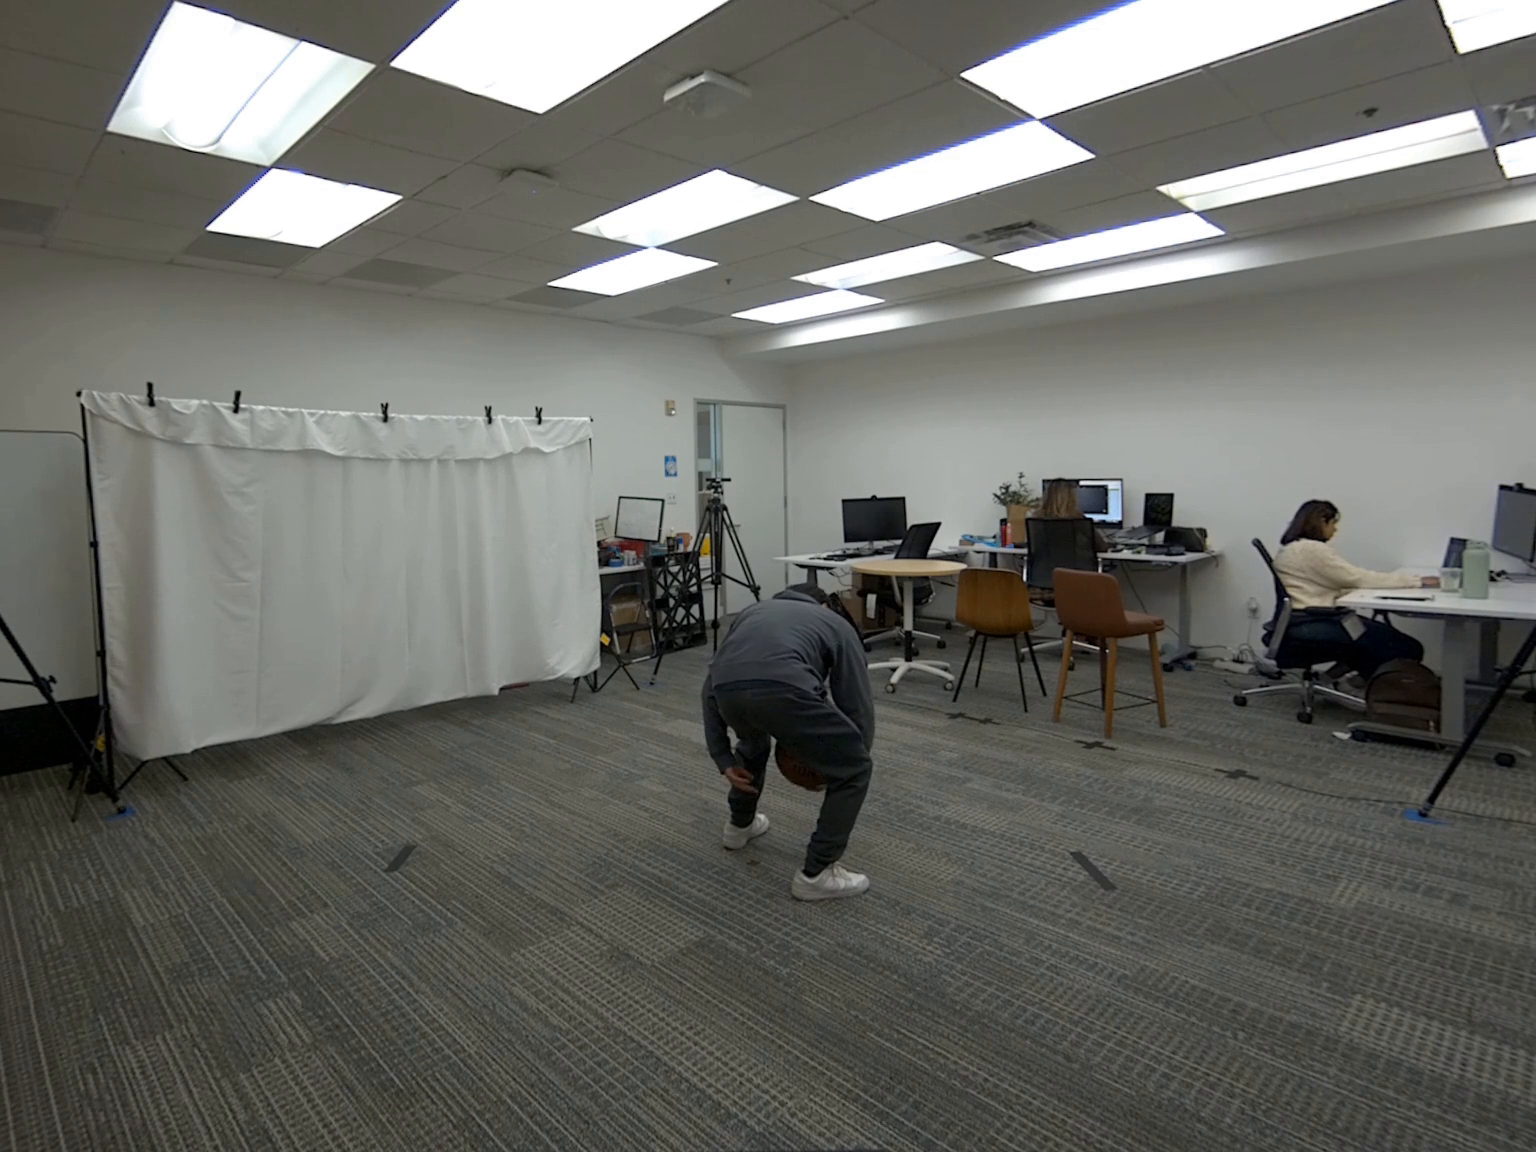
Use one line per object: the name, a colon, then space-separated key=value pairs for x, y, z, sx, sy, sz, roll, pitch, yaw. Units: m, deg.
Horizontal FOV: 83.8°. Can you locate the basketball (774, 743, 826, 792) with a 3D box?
basketball: x=0.146 y=0.634 z=3.071 sx=0.236 sy=0.235 sz=0.237 roll=-1 pitch=5 yaw=-2
